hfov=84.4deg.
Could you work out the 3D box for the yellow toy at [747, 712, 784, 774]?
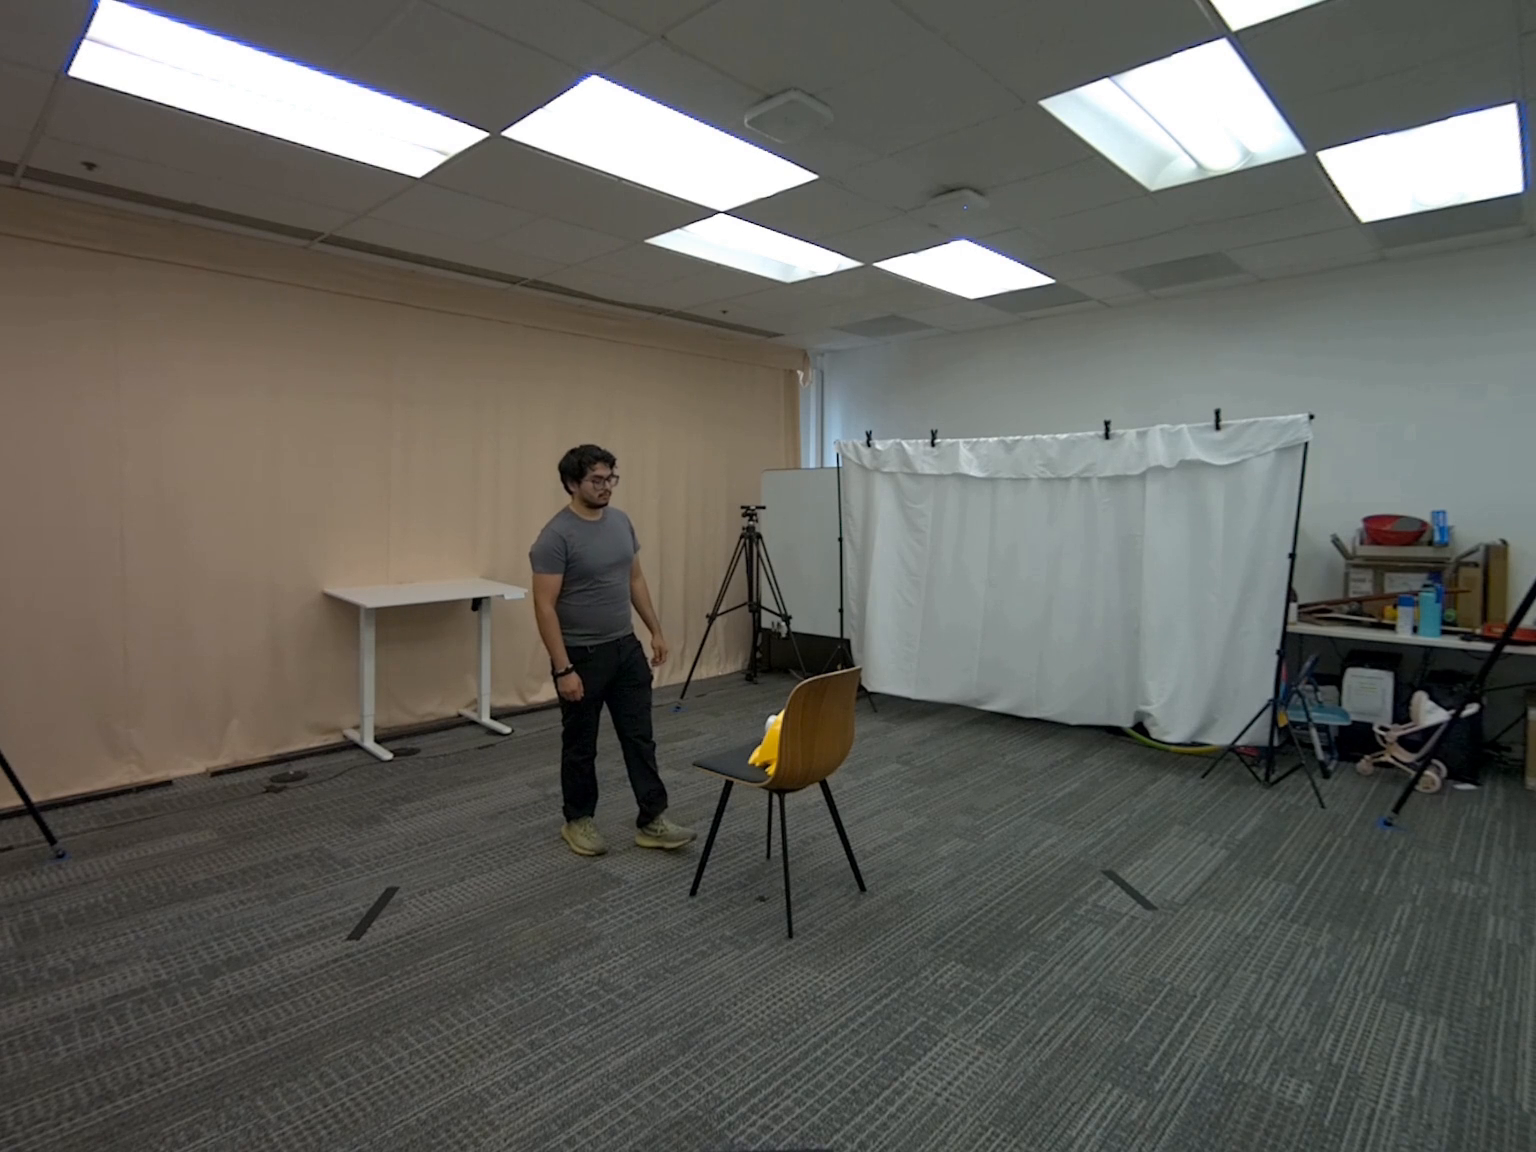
[{"bbox_3d":[0.052,0.558,2.956,0.187,0.230,0.211,-1,7,-32],"label":"yellow toy"}]
